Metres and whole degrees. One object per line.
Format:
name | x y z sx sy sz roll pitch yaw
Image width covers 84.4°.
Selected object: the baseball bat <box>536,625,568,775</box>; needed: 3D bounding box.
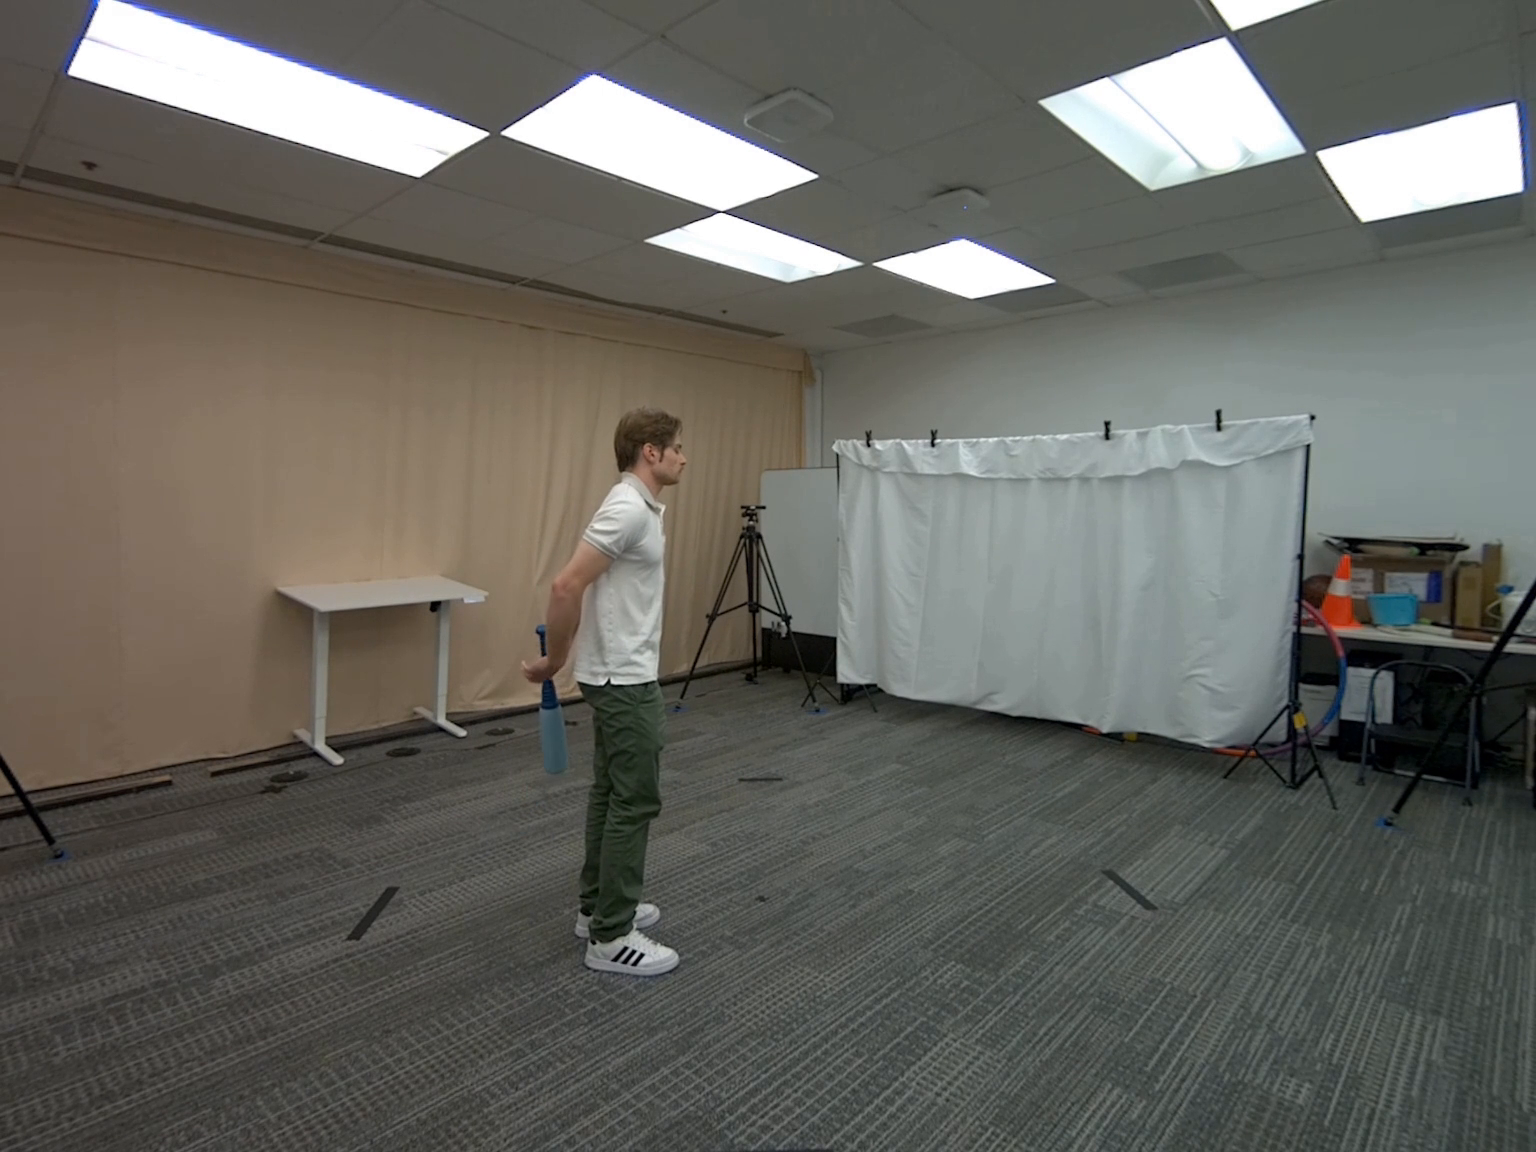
baseball bat | -0.737 0.427 2.921 0.089 0.537 0.090 0 18 -2
